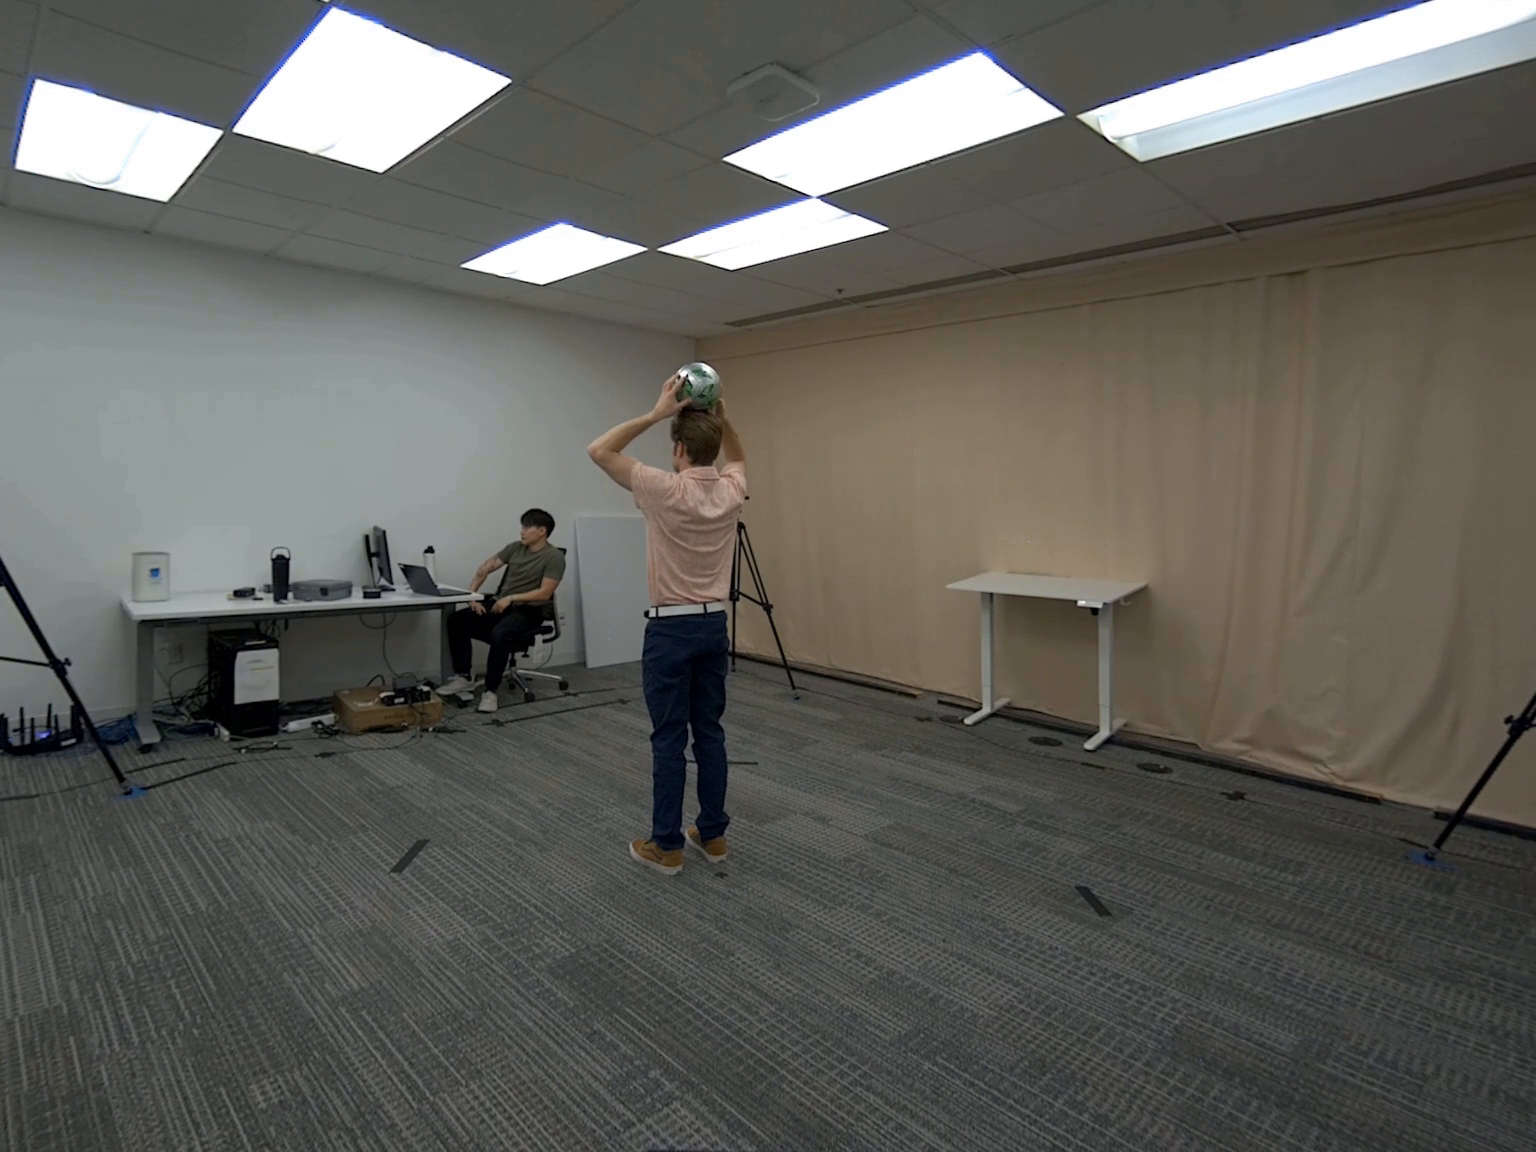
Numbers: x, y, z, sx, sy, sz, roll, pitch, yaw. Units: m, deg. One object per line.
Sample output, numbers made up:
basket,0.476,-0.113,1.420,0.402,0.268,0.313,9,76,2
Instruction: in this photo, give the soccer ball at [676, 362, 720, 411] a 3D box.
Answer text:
soccer ball,-0.277,-0.696,3.145,0.187,0.187,0.188,1,4,-1
